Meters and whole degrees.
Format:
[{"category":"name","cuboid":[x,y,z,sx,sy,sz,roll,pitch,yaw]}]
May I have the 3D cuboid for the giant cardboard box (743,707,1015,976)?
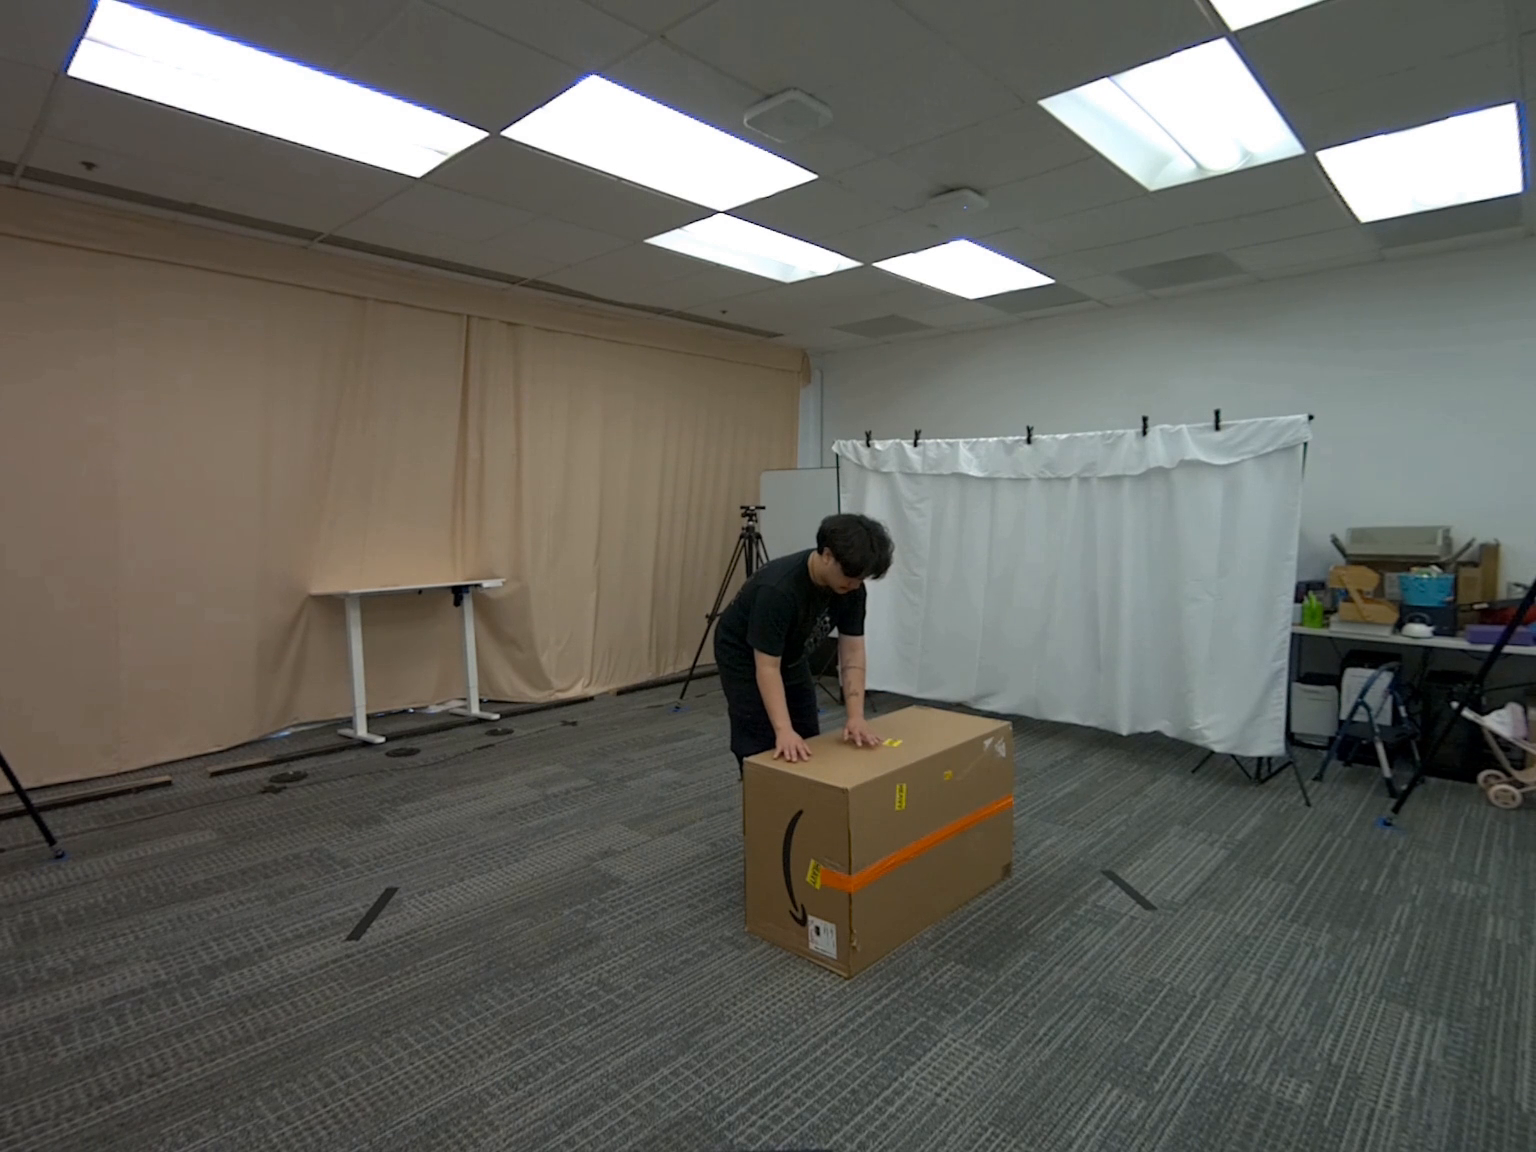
[{"category":"giant cardboard box","cuboid":[0.428,0.860,2.953,0.462,0.582,0.996,5,7,43]}]
